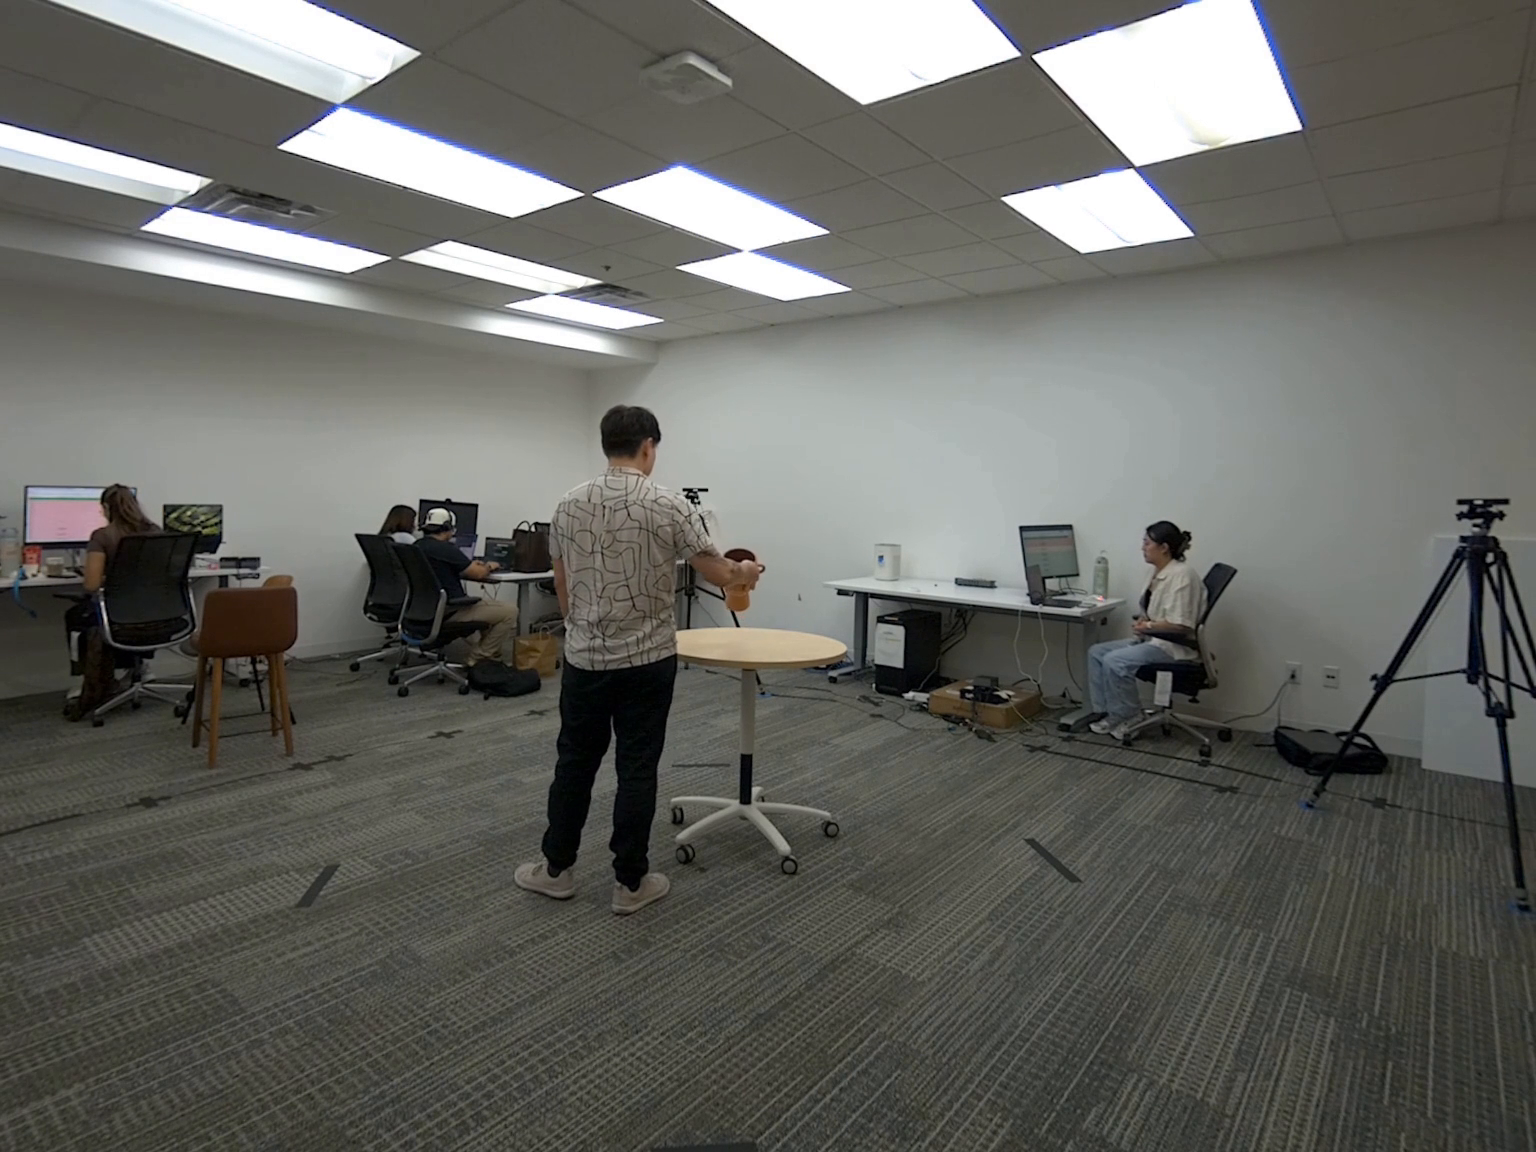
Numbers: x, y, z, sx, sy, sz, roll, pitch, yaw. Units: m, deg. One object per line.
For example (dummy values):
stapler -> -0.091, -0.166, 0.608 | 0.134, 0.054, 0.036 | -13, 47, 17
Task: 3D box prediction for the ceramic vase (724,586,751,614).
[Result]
ceramic vase -> -0.128, 0.021, 3.186 | 0.164, 0.214, 0.133 | 25, 42, 29
